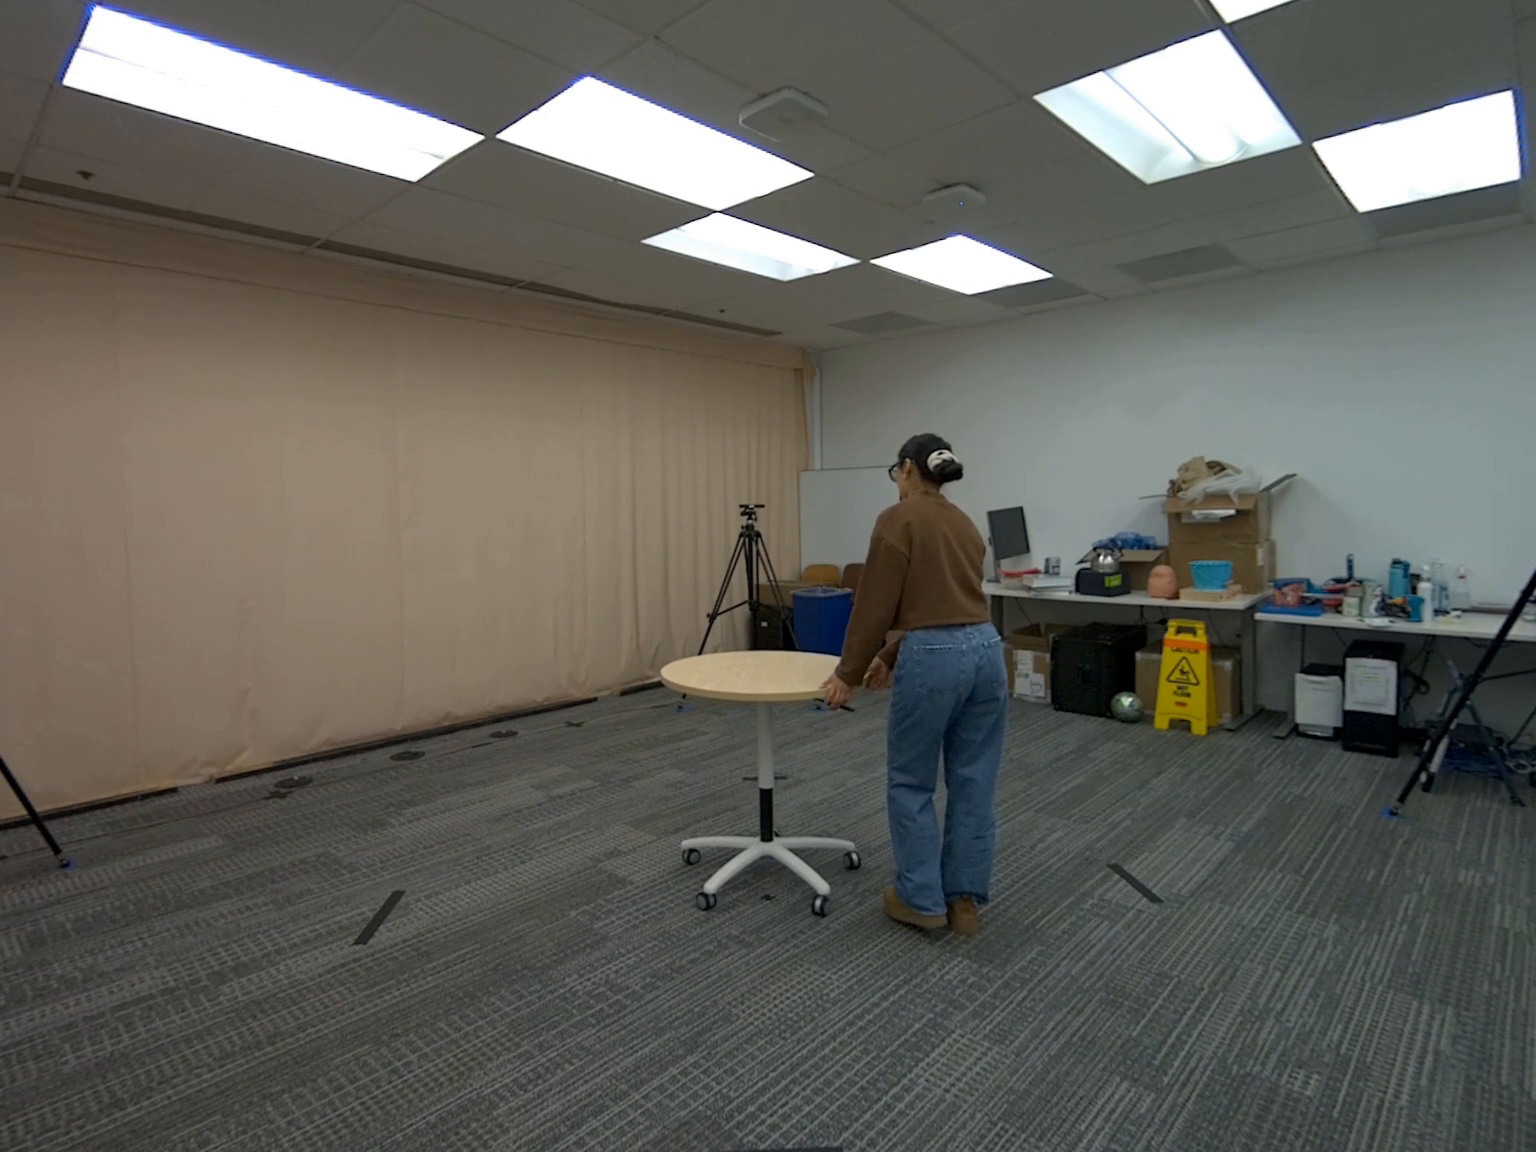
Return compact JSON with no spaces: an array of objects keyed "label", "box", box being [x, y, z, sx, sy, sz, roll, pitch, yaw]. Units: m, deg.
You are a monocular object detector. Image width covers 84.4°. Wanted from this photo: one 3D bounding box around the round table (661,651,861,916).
[{"label":"round table","box":[0.011,0.733,3.126,0.784,0.784,0.788,-1,4,-2]}]
